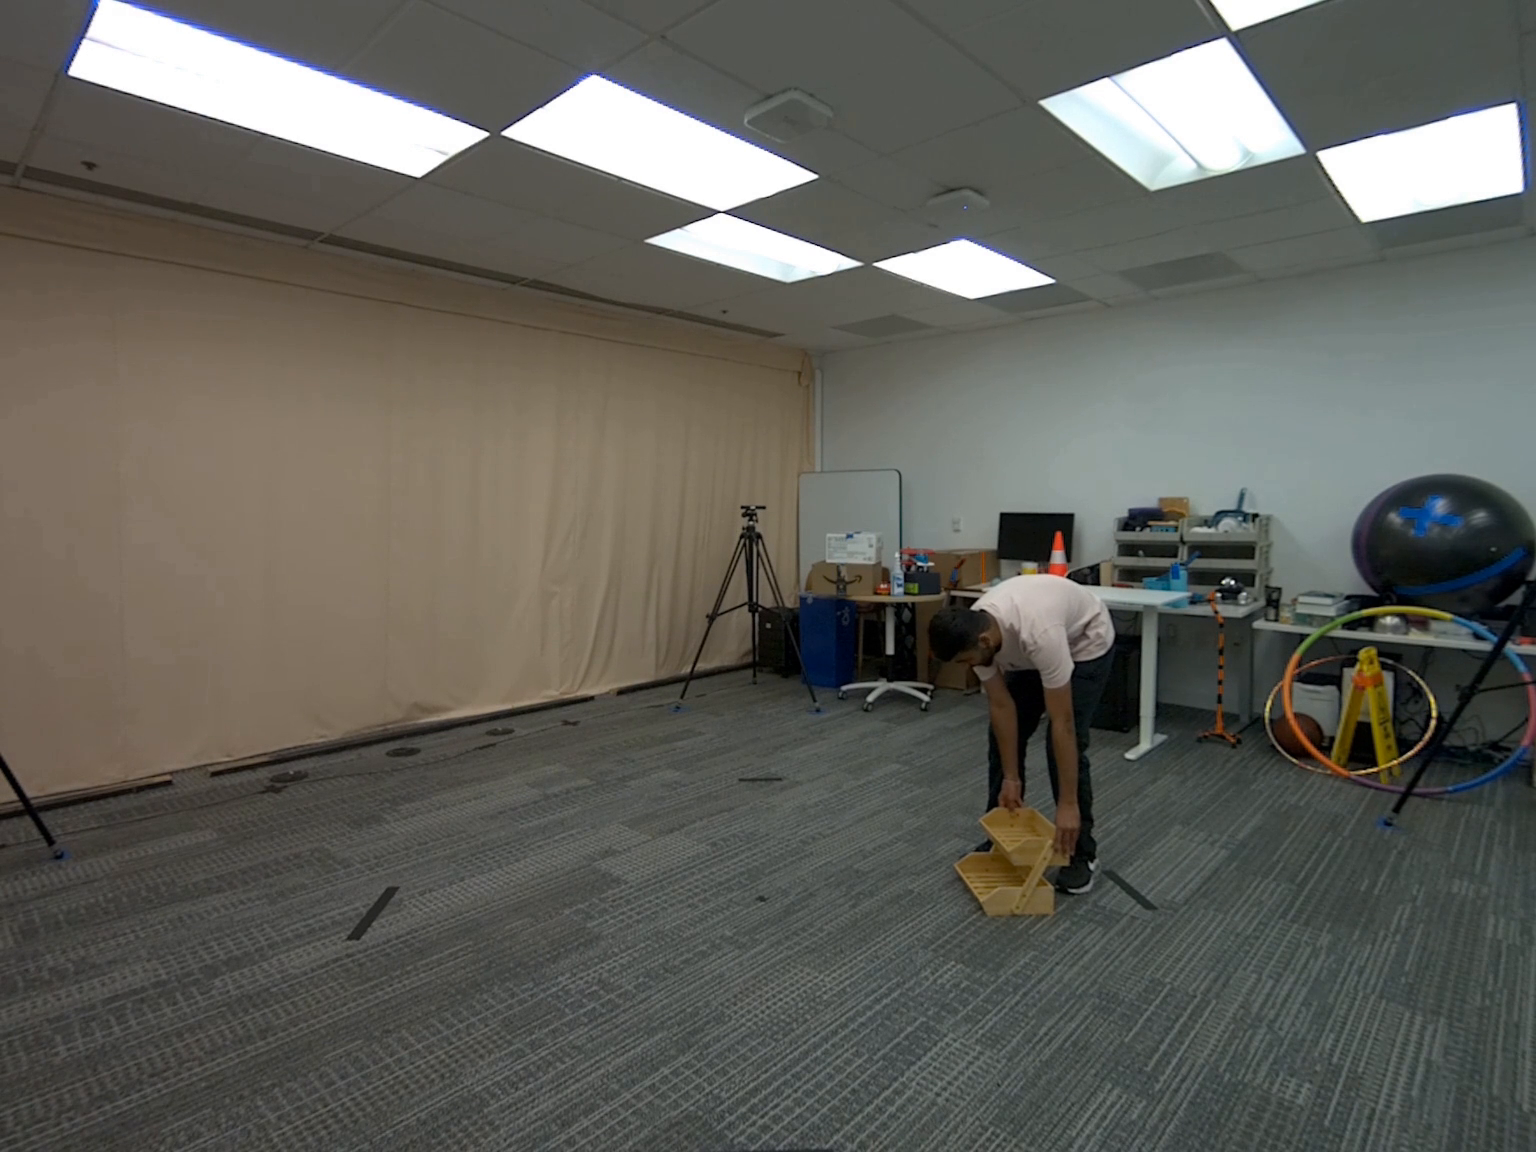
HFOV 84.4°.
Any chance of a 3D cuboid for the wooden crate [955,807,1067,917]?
[{"bbox_3d":[0.855,1.008,3.001,0.301,0.273,0.326,1,3,-4],"label":"wooden crate"}]
